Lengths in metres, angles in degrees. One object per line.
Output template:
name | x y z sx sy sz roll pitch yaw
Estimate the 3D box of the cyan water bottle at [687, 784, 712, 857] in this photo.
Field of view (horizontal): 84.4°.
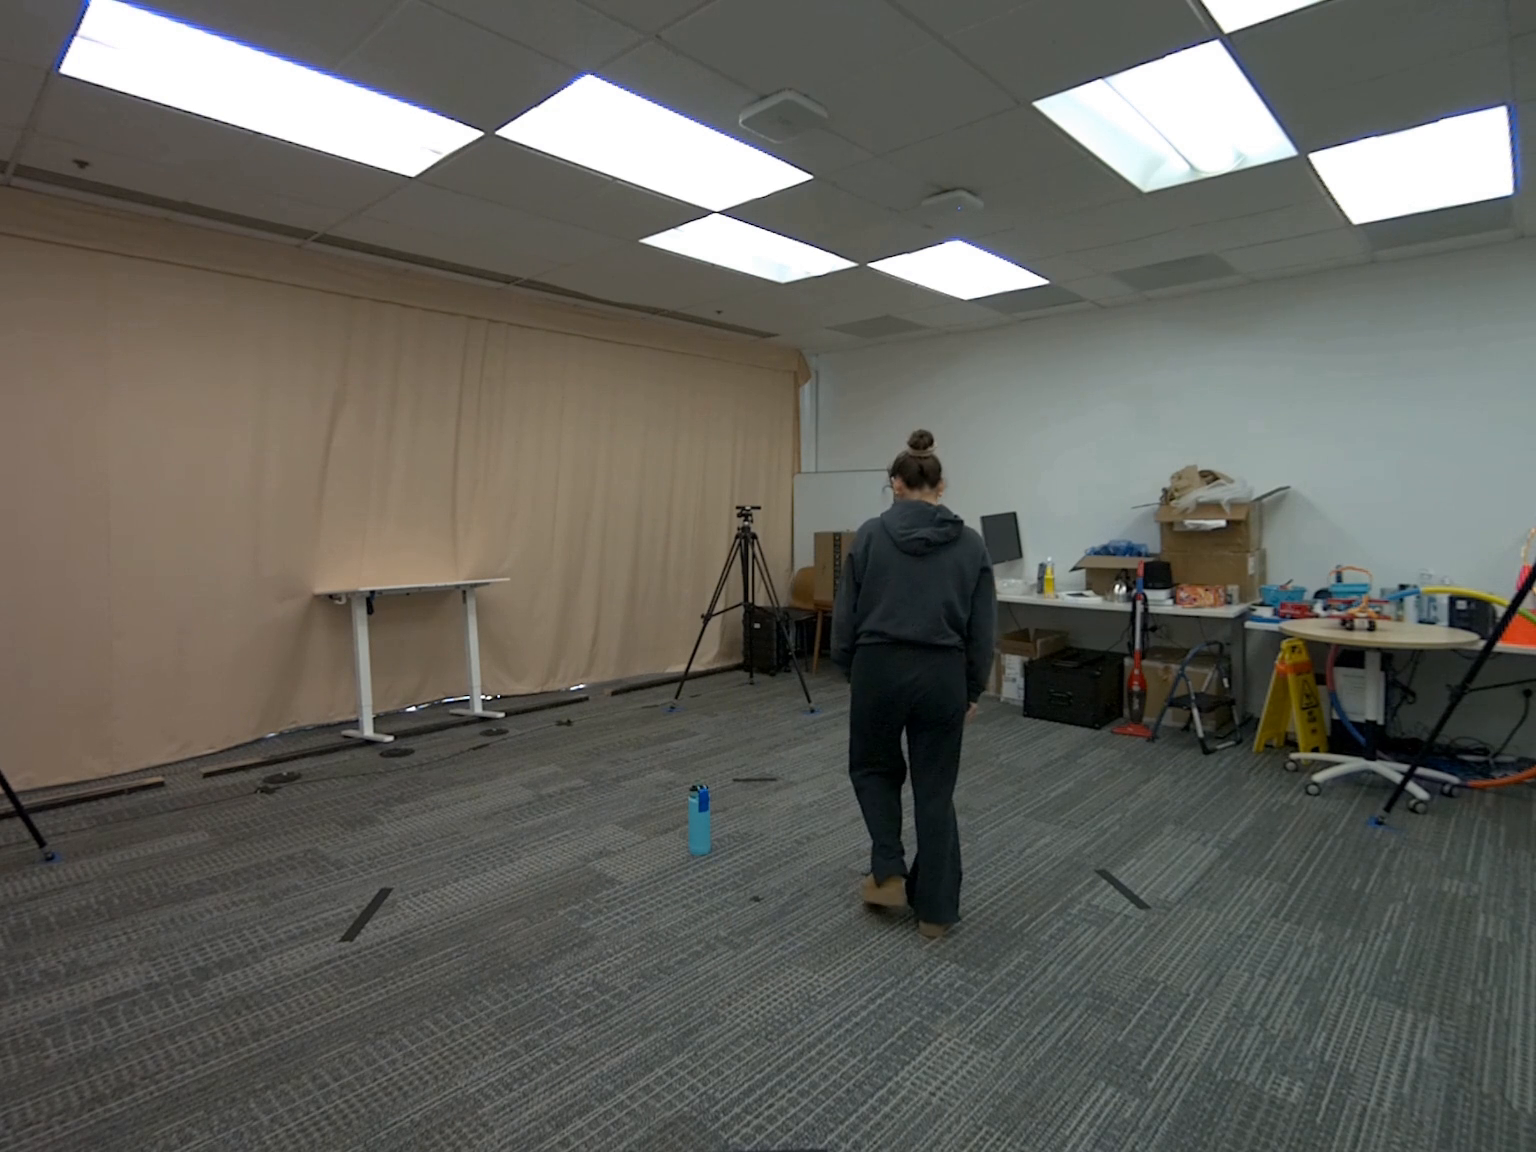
cyan water bottle | -0.255 0.970 3.392 0.092 0.283 0.093 0 4 -2
